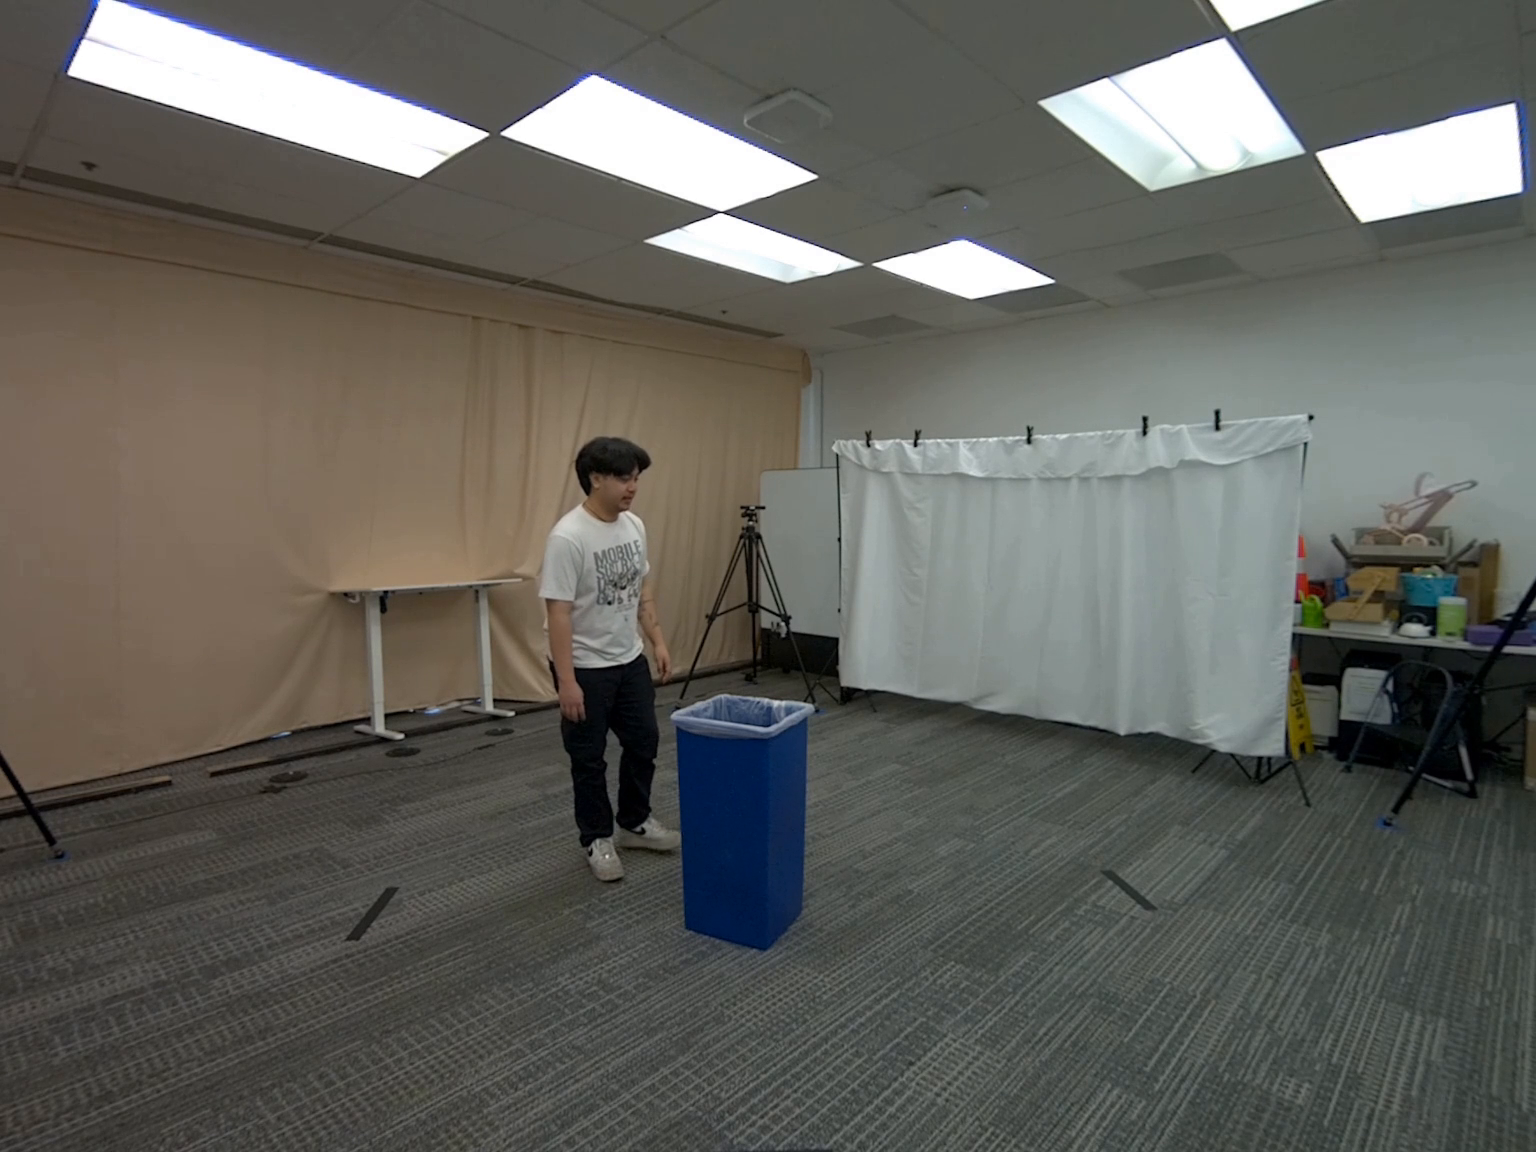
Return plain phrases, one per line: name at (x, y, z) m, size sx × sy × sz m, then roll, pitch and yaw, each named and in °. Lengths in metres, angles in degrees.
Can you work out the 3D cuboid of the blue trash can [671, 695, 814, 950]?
blue trash can at (-0.076, 0.801, 2.804) m, size 0.388 × 0.712 × 0.365 m, roll 1°, pitch 3°, yaw 27°
